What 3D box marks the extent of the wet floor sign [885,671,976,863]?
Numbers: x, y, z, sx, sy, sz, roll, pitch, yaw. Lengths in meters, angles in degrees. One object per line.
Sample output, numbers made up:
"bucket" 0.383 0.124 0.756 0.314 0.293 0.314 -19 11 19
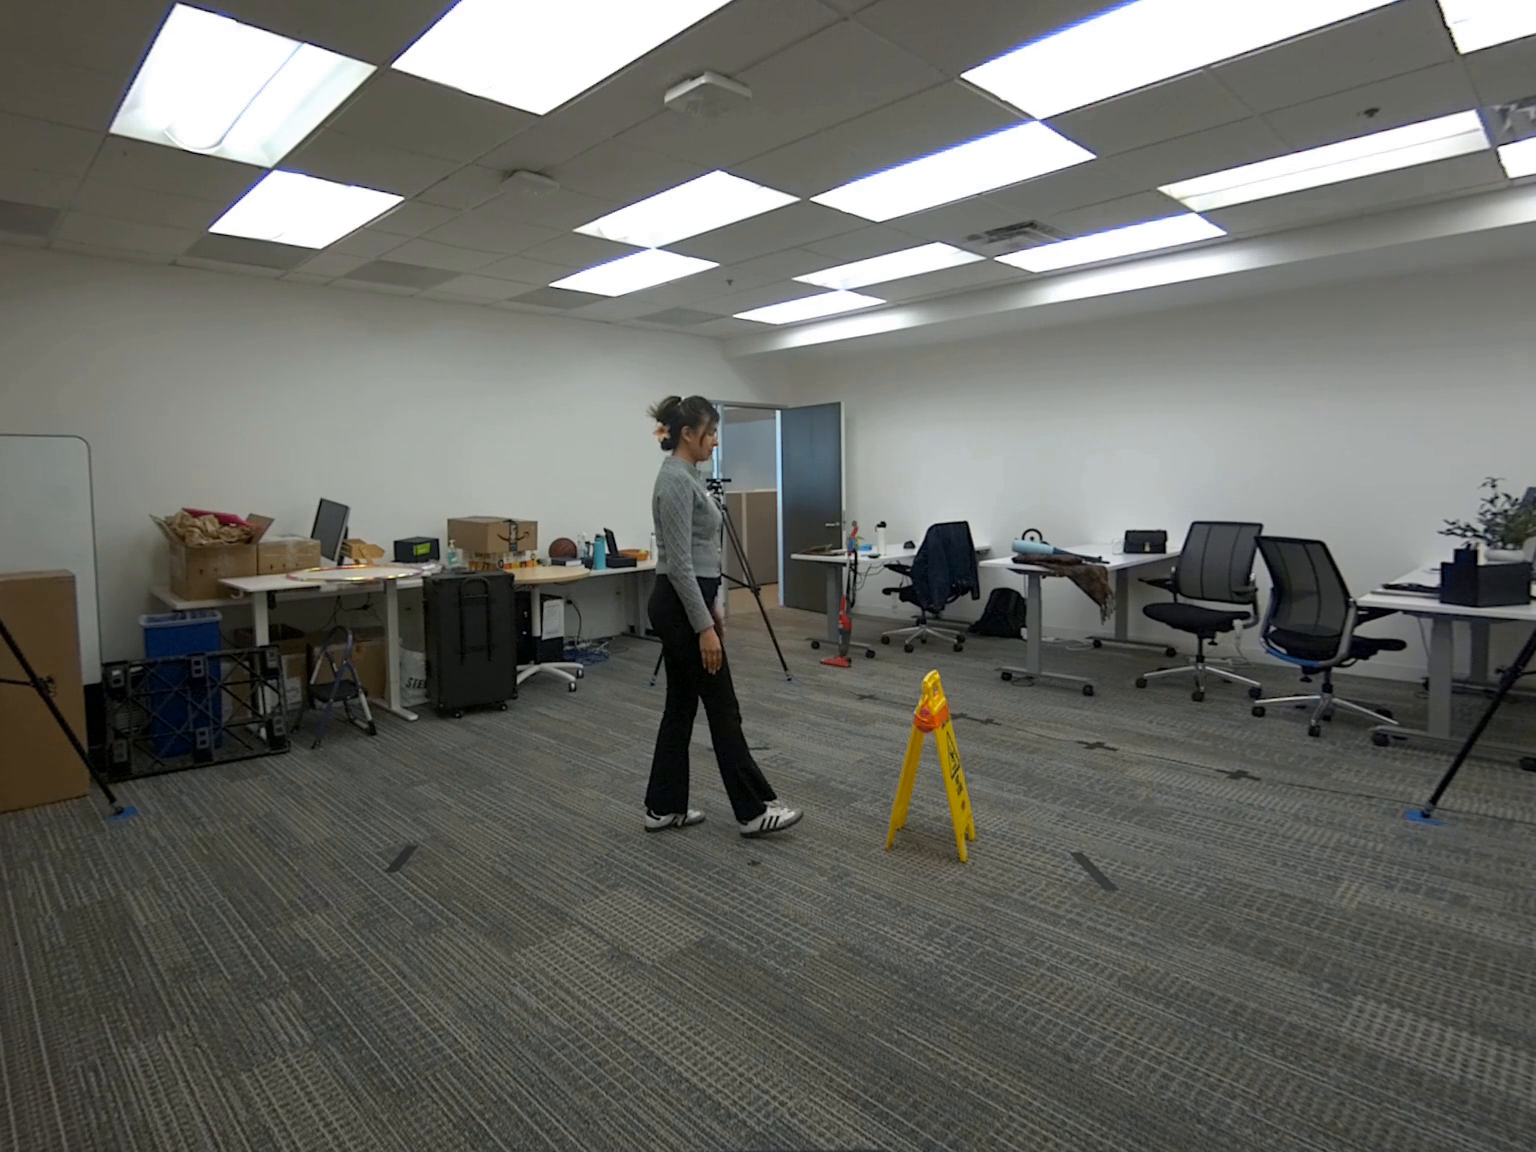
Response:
"wet floor sign" 0.623 0.697 3.241 0.296 0.643 0.277 2 5 24
